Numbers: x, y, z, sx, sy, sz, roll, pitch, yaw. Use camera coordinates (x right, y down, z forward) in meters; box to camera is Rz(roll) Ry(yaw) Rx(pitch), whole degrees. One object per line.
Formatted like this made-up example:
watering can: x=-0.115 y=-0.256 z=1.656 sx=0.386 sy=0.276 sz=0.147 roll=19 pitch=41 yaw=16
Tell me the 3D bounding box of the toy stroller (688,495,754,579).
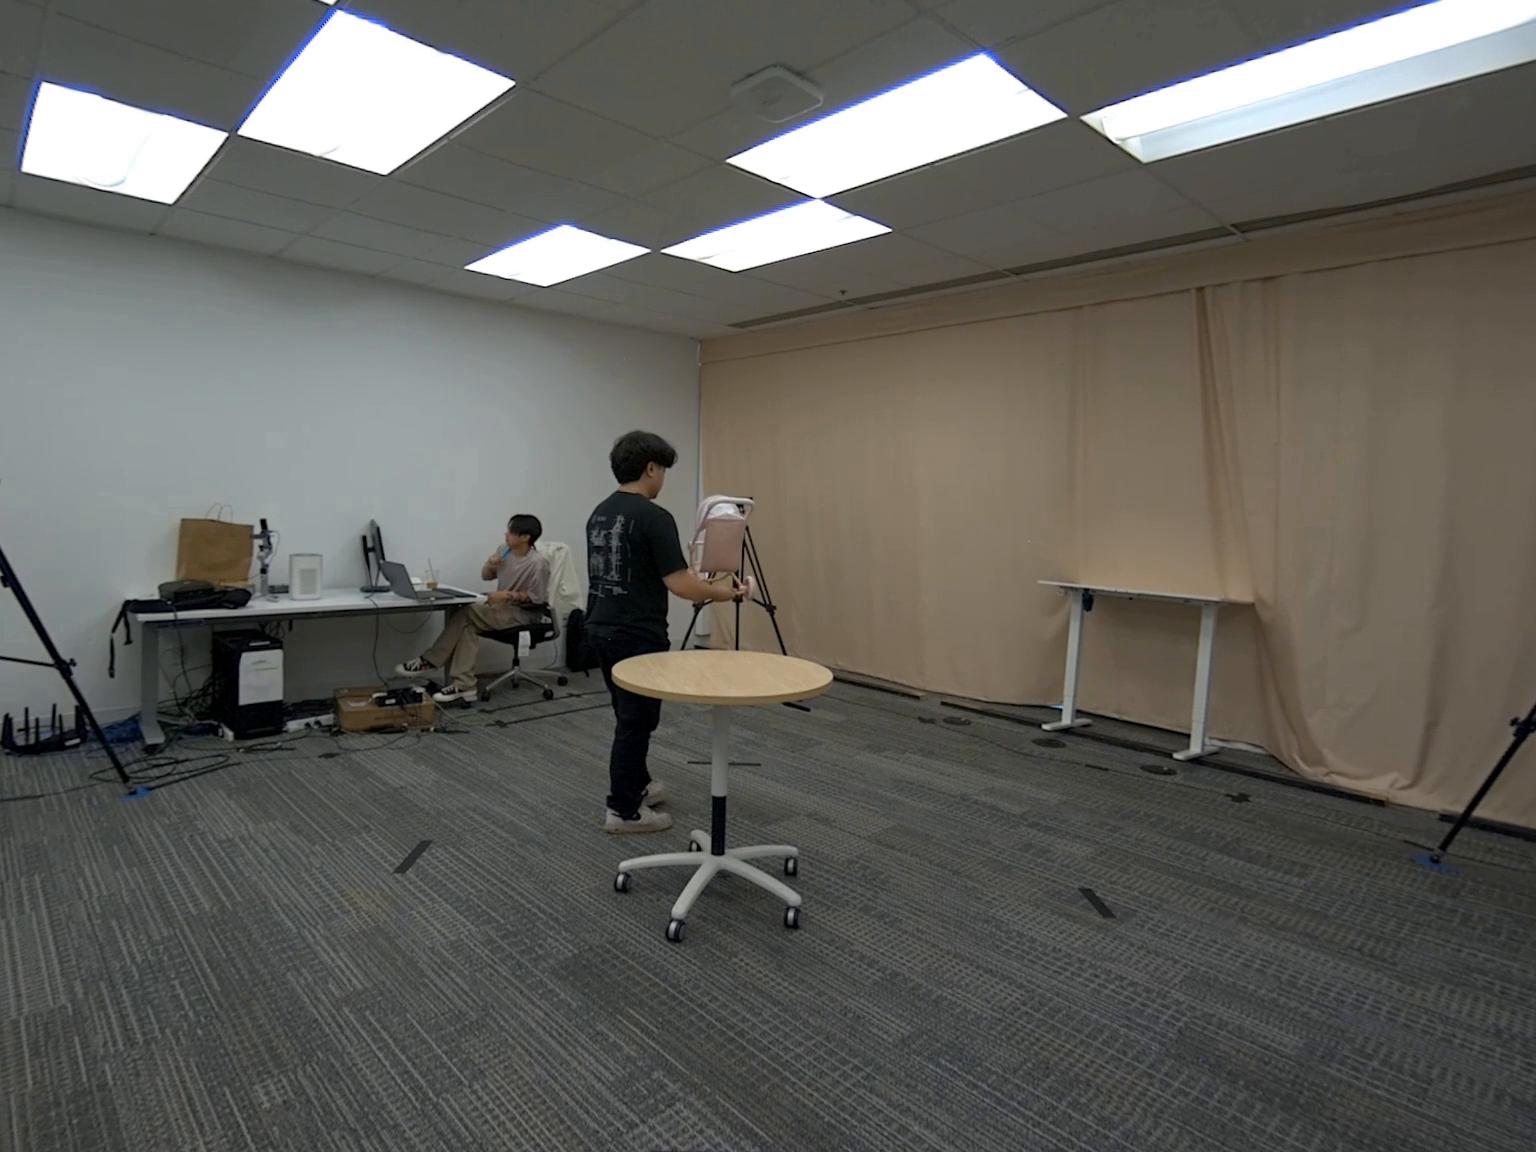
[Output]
toy stroller: x=-0.231 y=-0.118 z=3.712 sx=0.278 sy=0.530 sz=0.349 roll=1 pitch=14 yaw=-18
